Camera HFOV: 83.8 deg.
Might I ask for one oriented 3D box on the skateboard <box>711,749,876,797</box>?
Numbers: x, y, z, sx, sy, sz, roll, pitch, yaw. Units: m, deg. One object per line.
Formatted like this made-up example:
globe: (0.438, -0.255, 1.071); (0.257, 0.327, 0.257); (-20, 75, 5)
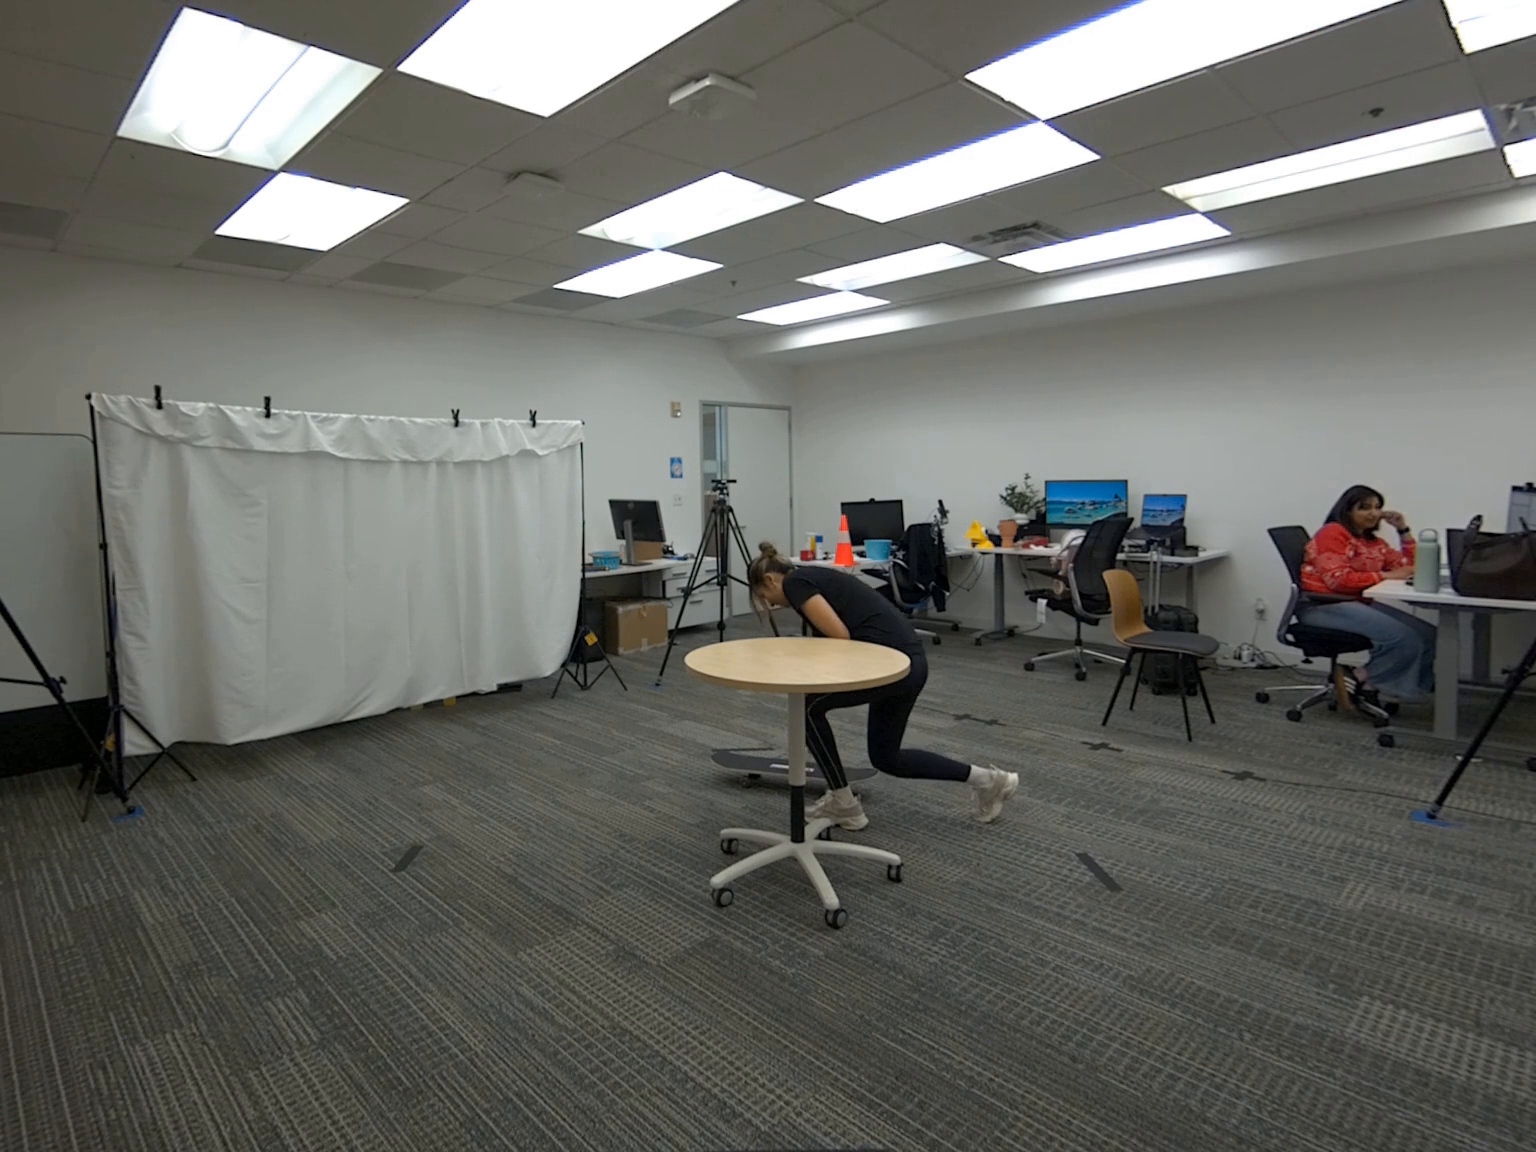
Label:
skateboard: (0.111, 0.904, 3.879); (0.802, 0.110, 0.190); (2, 7, 22)
